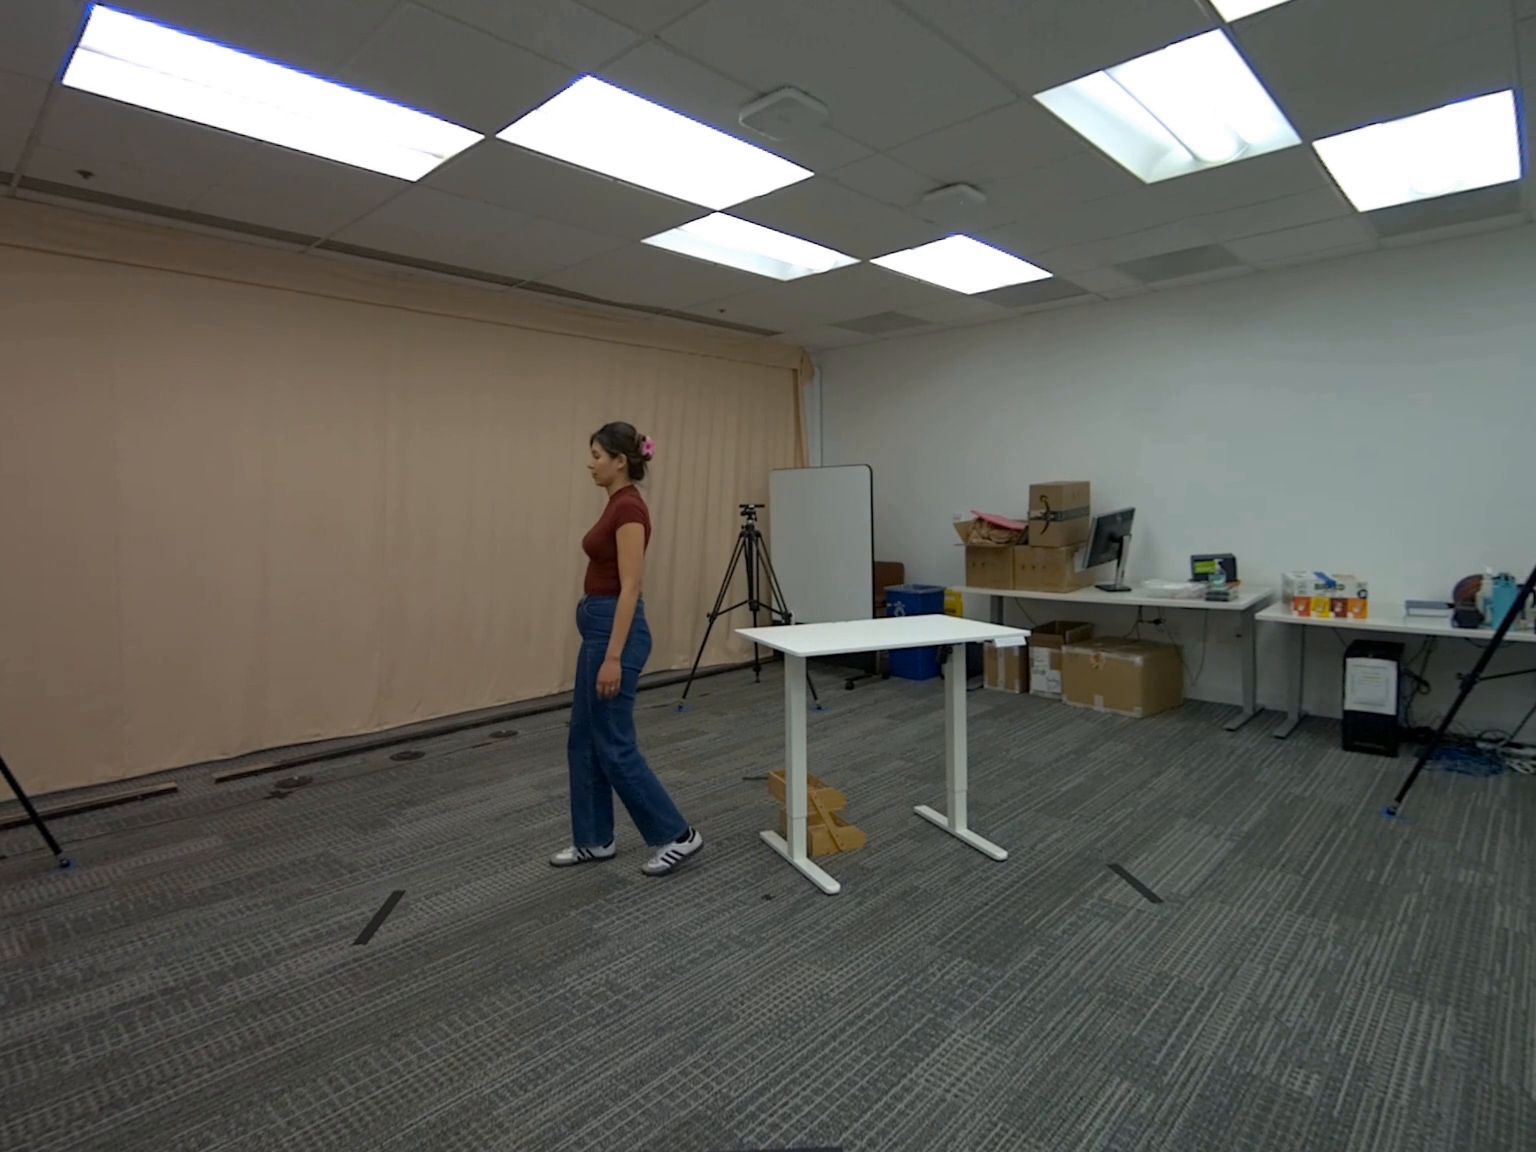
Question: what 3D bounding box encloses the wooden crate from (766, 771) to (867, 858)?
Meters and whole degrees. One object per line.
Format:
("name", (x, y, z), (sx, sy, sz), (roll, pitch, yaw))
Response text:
("wooden crate", (0.206, 0.959, 3.487), (0.295, 0.272, 0.332), (-3, 5, -23))
